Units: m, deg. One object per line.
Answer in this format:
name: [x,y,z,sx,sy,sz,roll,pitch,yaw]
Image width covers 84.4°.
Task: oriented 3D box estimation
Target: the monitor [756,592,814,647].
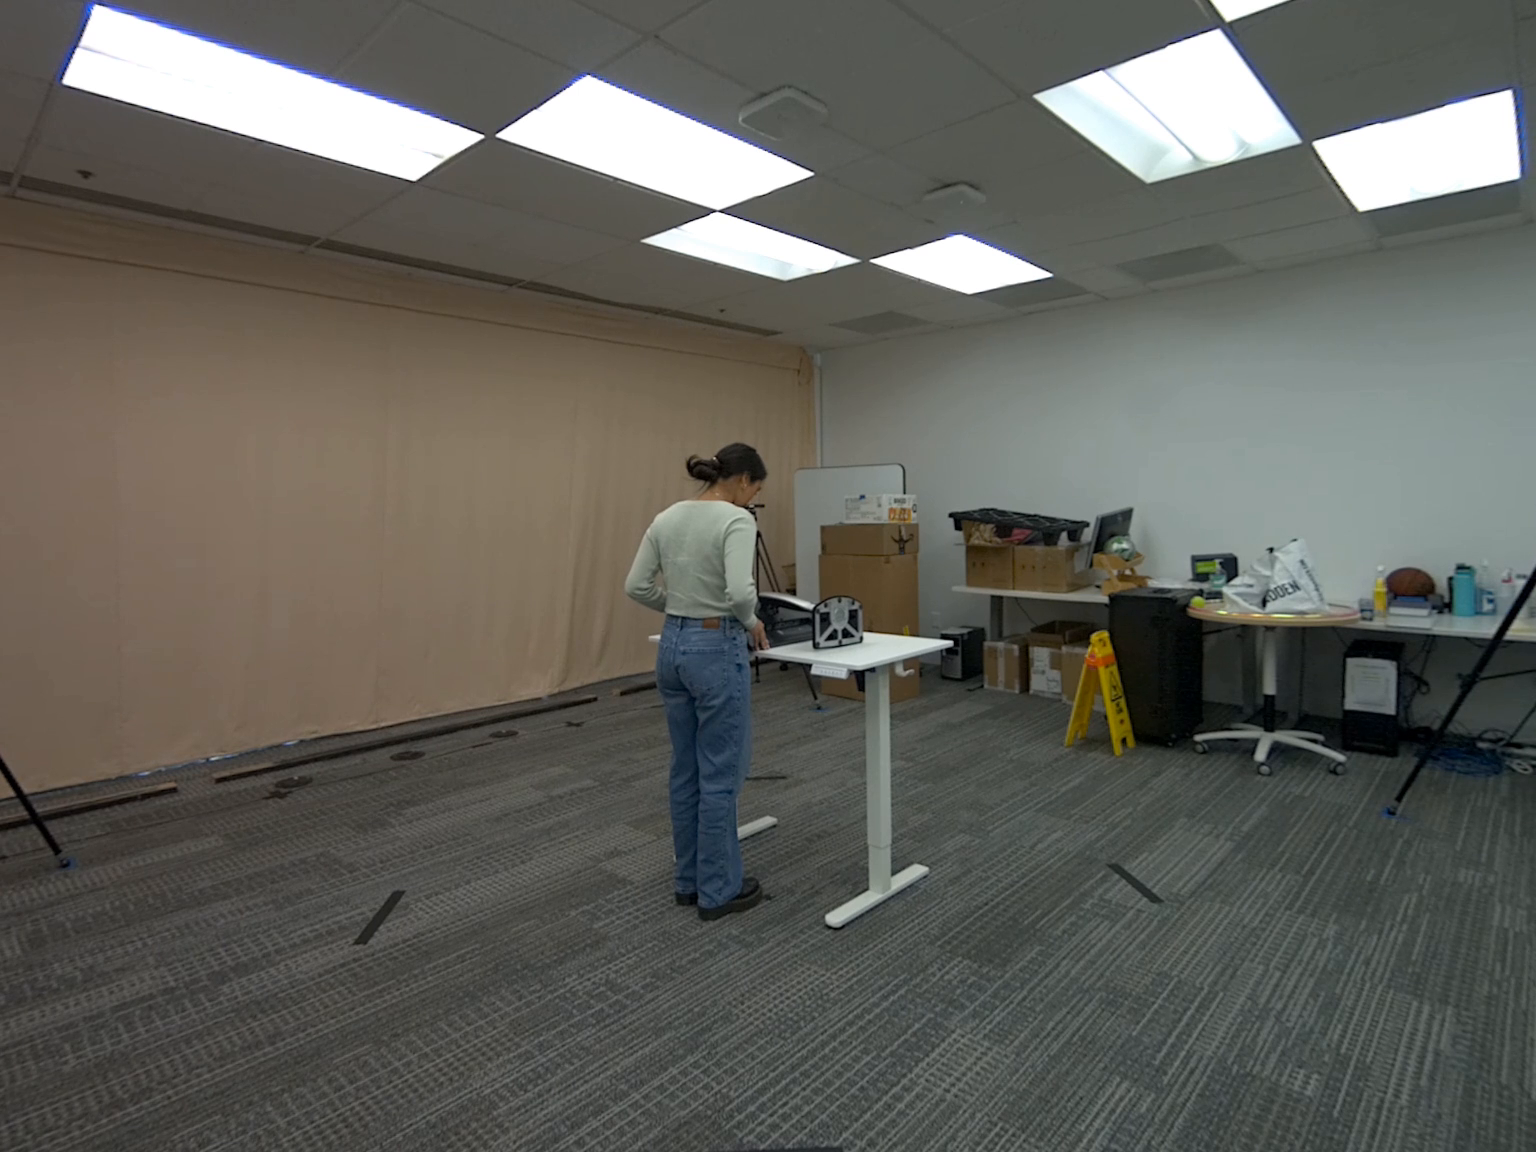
monitor: [0.081,0.151,3.139,0.540,0.187,0.522,4,3,45]
